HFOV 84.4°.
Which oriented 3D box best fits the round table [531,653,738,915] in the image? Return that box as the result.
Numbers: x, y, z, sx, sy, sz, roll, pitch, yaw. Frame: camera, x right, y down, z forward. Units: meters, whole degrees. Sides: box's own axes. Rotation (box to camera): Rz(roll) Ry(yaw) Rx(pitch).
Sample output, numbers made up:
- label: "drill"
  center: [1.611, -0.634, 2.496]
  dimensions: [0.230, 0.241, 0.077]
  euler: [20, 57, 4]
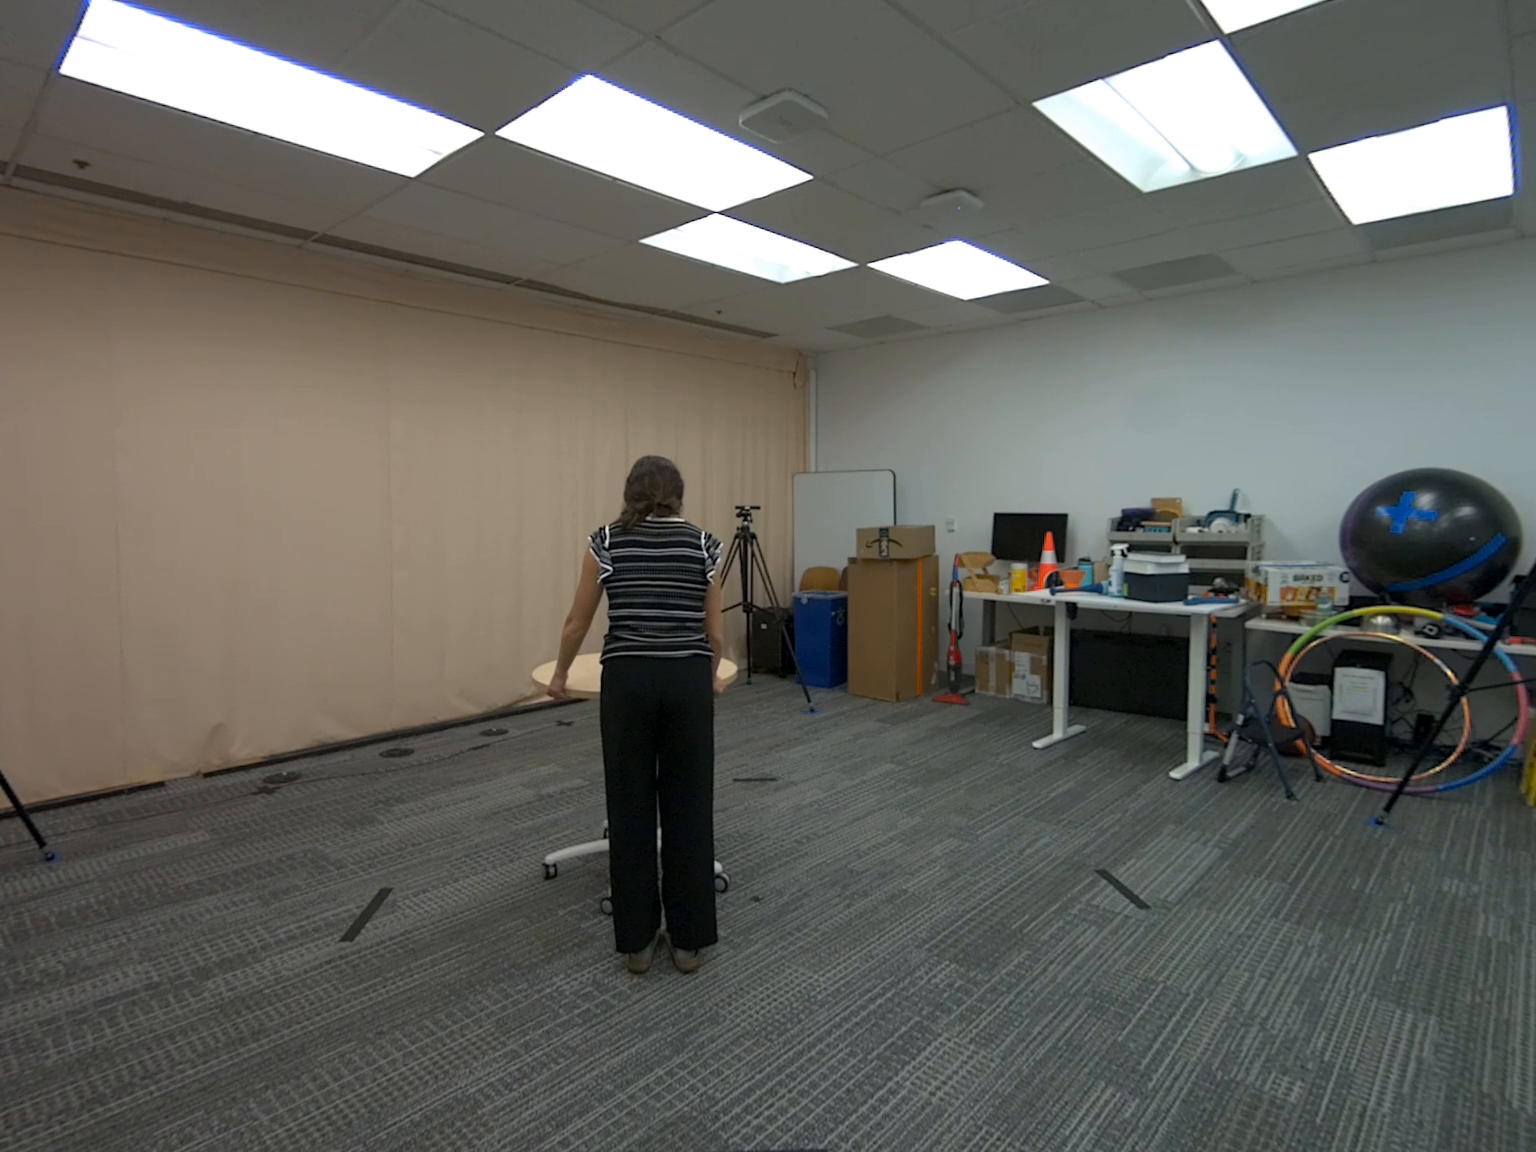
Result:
- label: "round table"
  center: [-0.487, 0.742, 3.194]
  dimensions: [0.763, 0.792, 0.767]
  euler: [-1, 4, -2]
